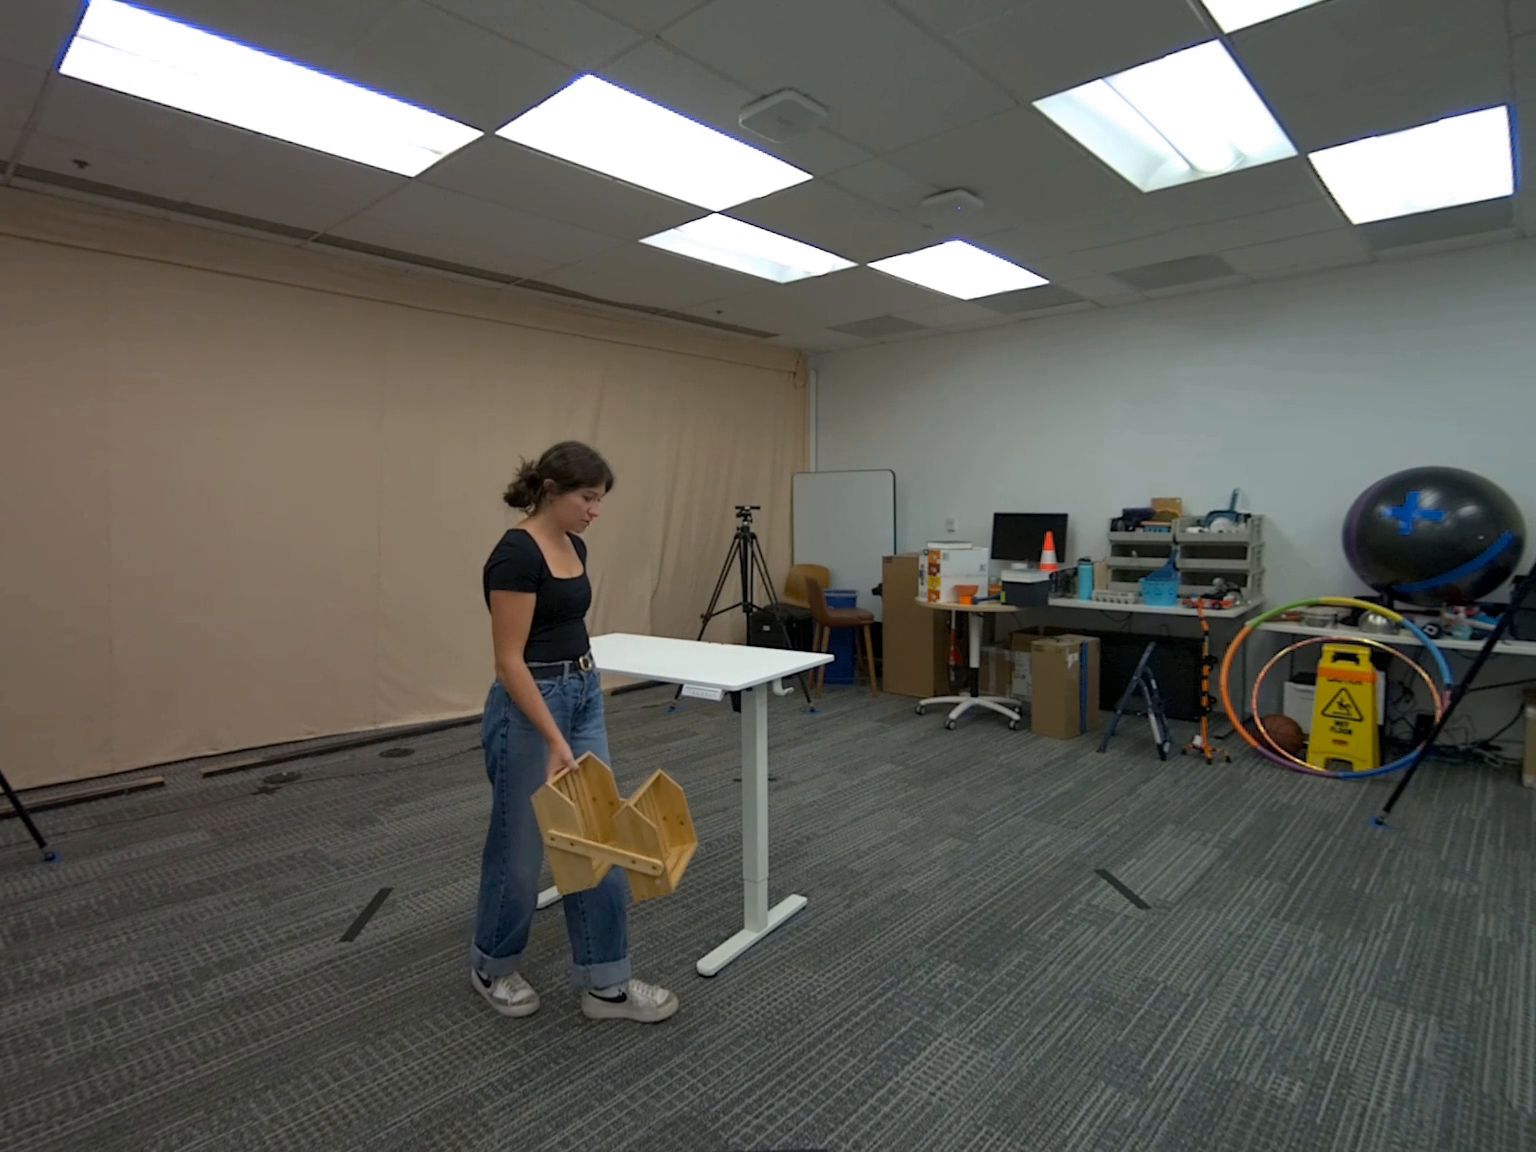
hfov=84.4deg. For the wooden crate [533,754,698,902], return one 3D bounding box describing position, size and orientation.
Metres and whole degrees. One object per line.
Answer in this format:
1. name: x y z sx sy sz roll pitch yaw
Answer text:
1. wooden crate: -0.348 0.585 2.012 0.276 0.302 0.321 -17 0 11
